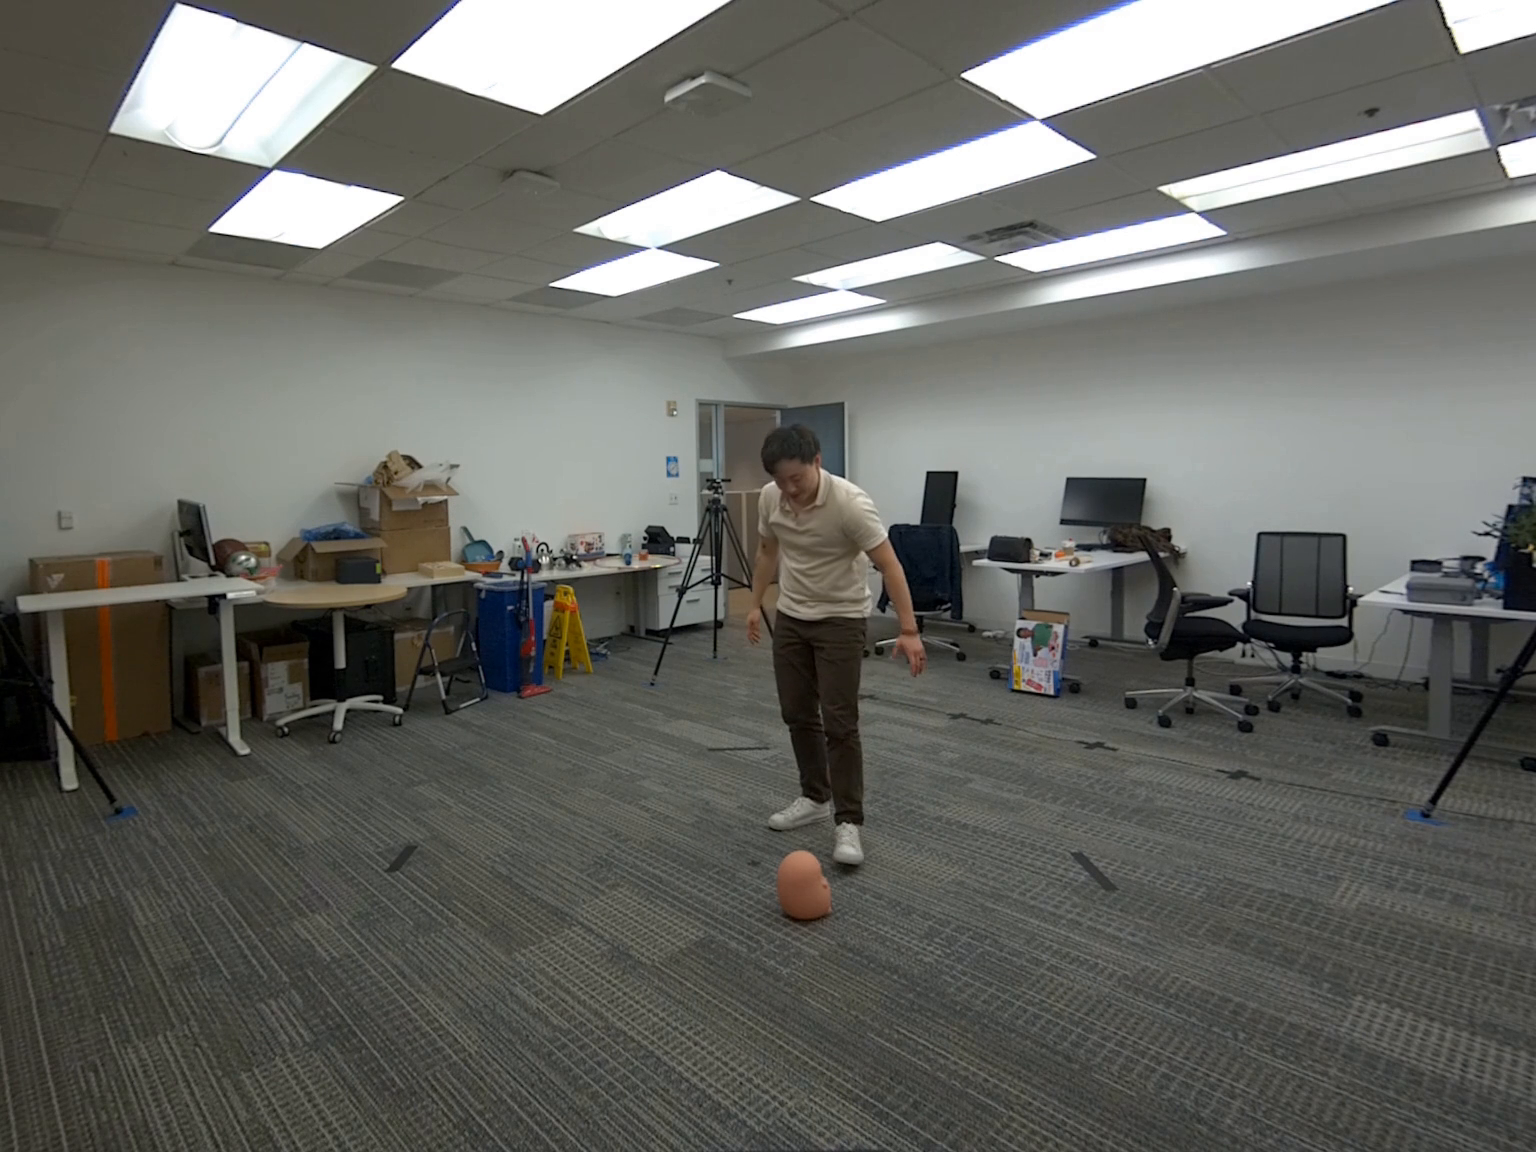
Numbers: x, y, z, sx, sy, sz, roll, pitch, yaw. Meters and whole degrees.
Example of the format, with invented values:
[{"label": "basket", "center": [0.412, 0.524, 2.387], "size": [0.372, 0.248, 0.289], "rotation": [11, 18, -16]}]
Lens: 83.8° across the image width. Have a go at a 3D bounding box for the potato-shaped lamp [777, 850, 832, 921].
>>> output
[{"label": "potato-shaped lamp", "center": [0.119, 0.983, 2.740], "size": [0.169, 0.197, 0.168], "rotation": [-6, 5, -17]}]
